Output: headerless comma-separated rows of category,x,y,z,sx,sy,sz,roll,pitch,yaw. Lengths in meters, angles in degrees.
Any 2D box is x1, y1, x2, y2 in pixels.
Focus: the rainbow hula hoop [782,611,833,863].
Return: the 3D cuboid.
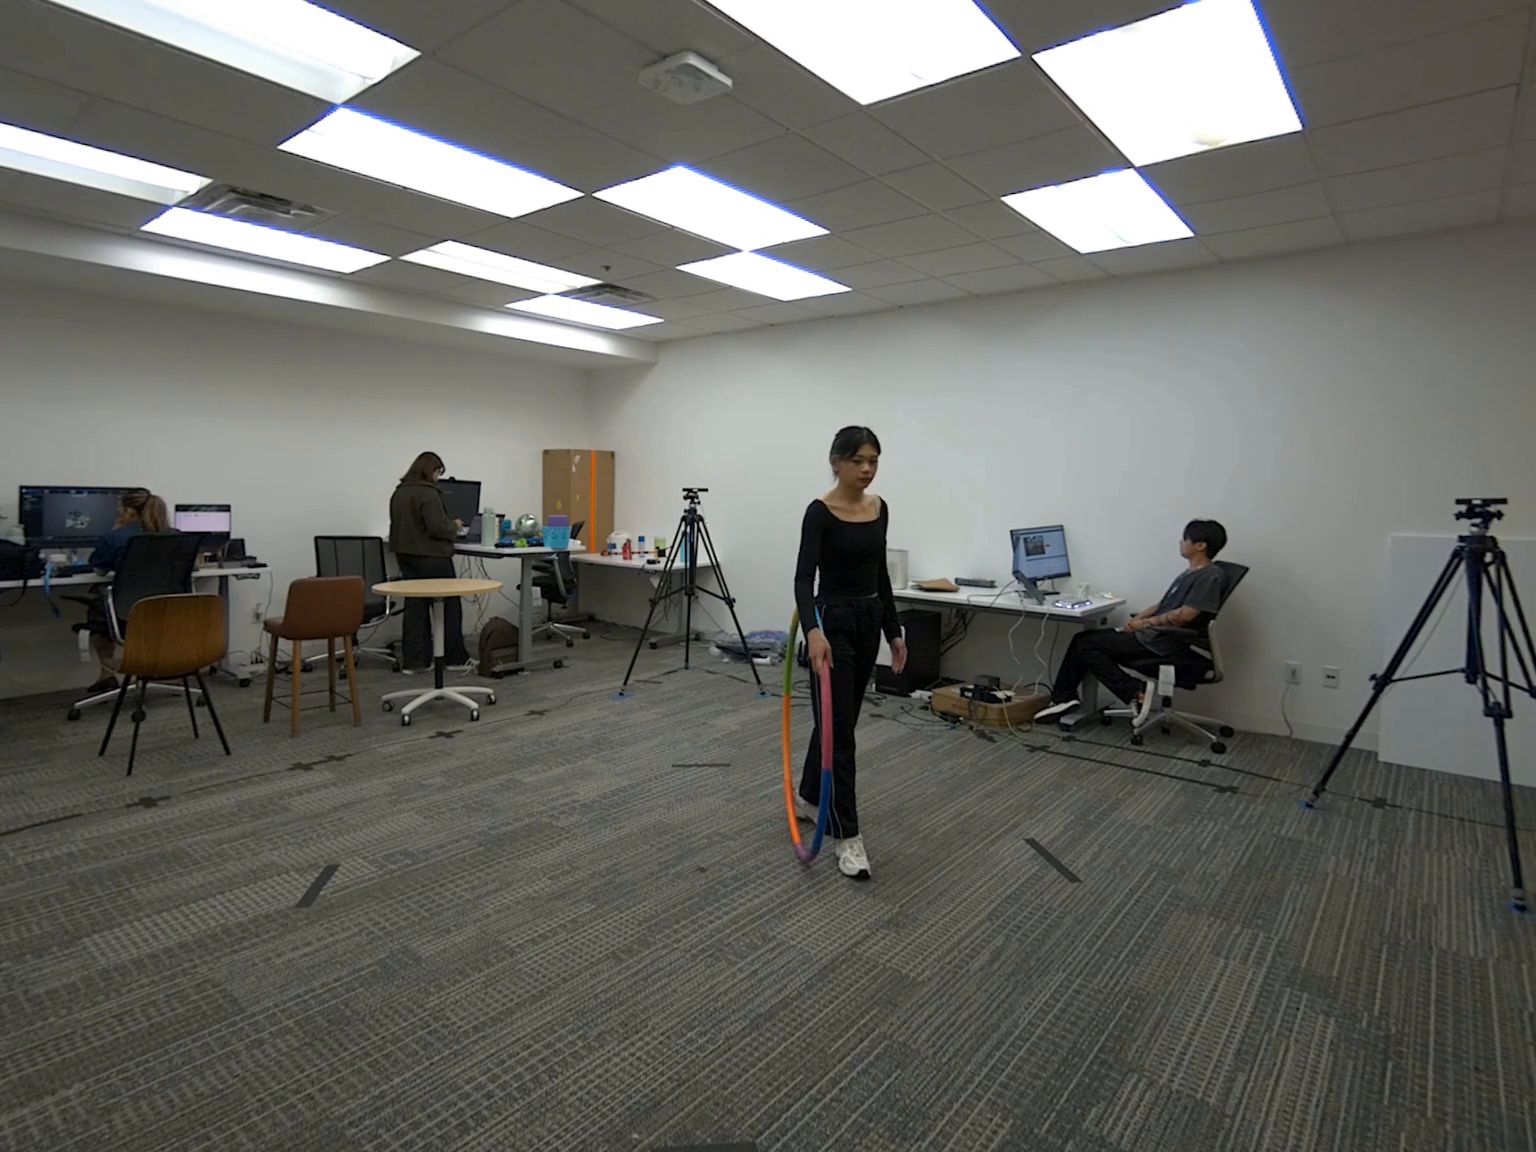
rainbow hula hoop,0.127,0.571,3.271,0.035,0.976,0.987,0,4,-7
